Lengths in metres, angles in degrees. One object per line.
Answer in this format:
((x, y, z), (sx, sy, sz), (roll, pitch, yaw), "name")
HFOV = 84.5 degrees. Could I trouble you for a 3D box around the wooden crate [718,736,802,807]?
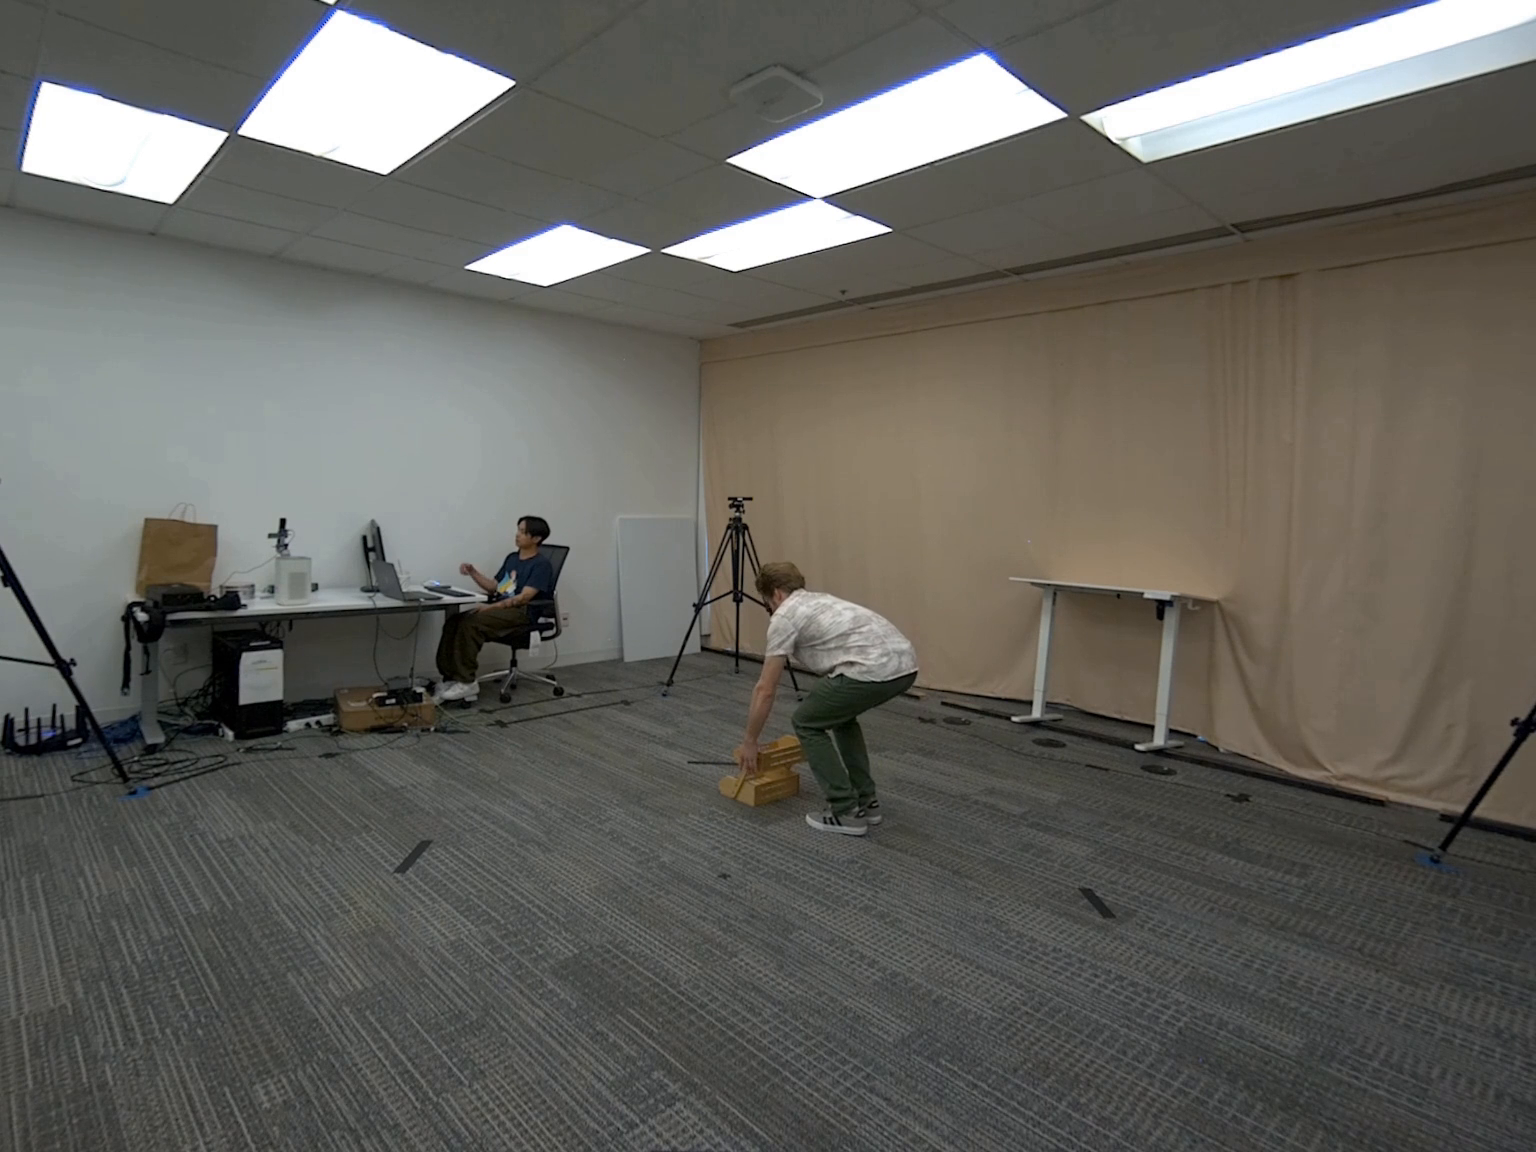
((-0.033, 0.902, 3.999), (0.317, 0.272, 0.310), (-2, 6, -44), "wooden crate")
